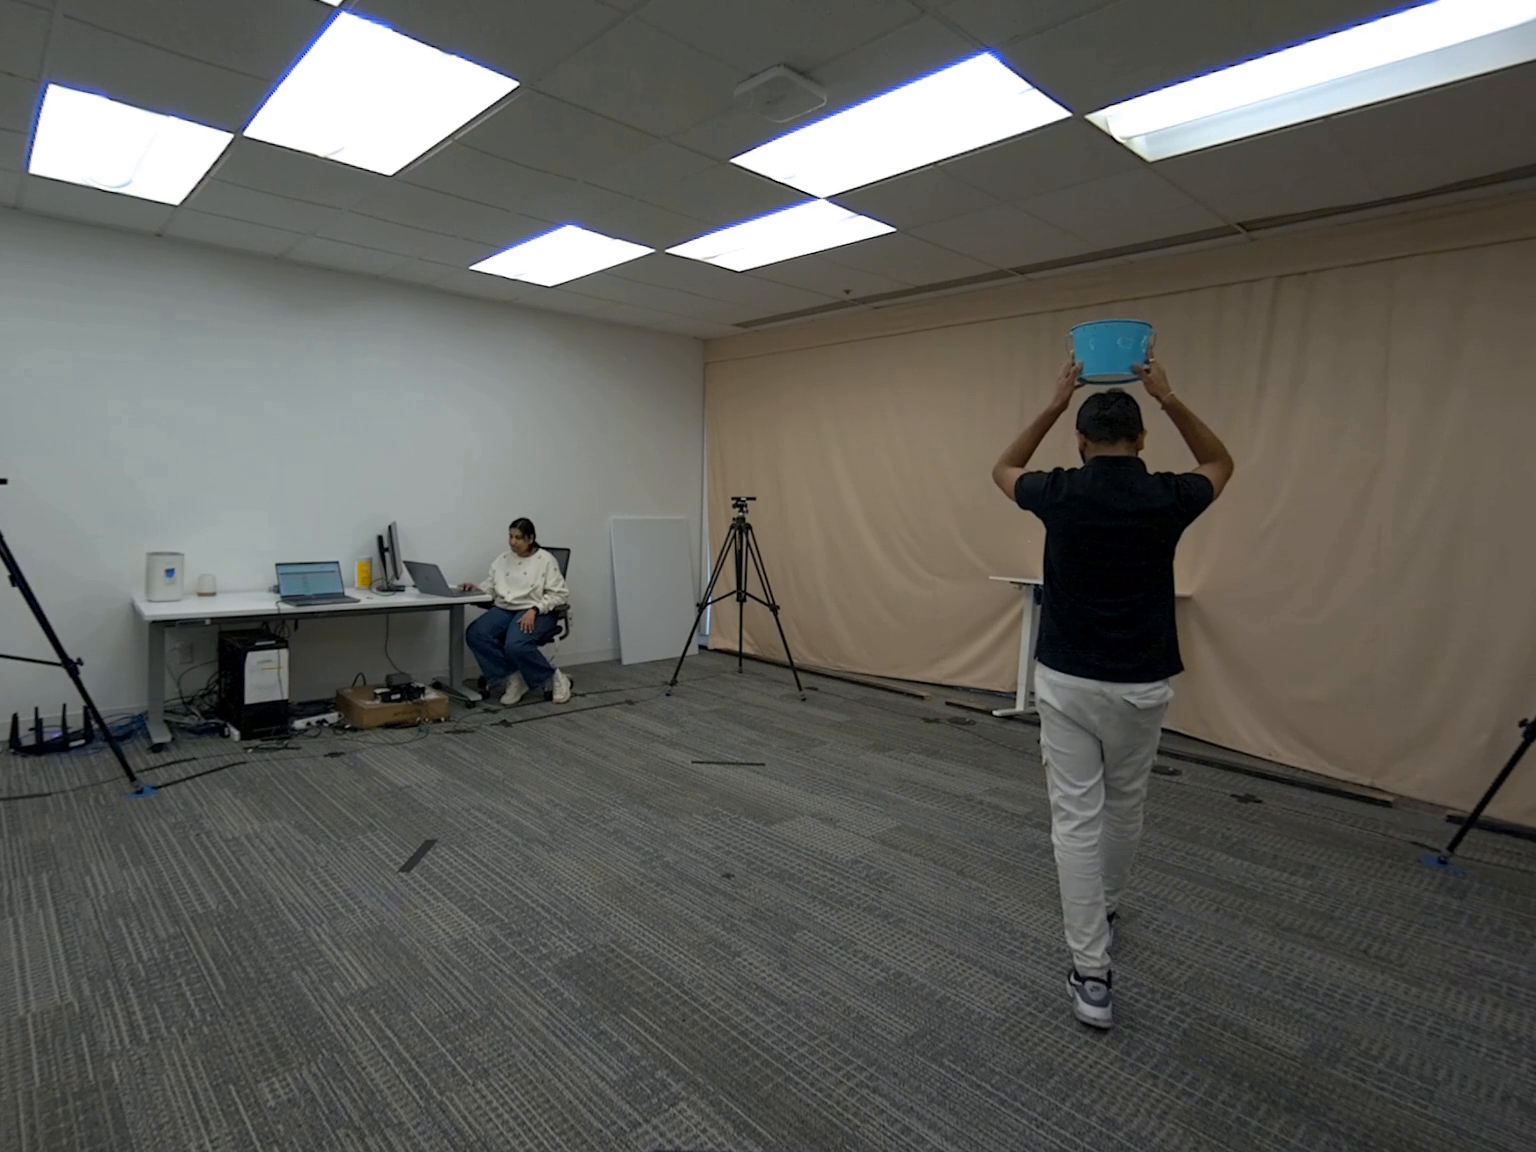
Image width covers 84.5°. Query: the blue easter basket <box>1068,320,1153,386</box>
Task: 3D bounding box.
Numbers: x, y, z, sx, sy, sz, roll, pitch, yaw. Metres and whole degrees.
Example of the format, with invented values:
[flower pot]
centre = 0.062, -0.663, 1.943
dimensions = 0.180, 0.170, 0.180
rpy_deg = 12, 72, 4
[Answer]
[blue easter basket]
centre = 1.042, -0.670, 2.540
dimensions = 0.243, 0.156, 0.244
rpy_deg = 5, 3, -2
